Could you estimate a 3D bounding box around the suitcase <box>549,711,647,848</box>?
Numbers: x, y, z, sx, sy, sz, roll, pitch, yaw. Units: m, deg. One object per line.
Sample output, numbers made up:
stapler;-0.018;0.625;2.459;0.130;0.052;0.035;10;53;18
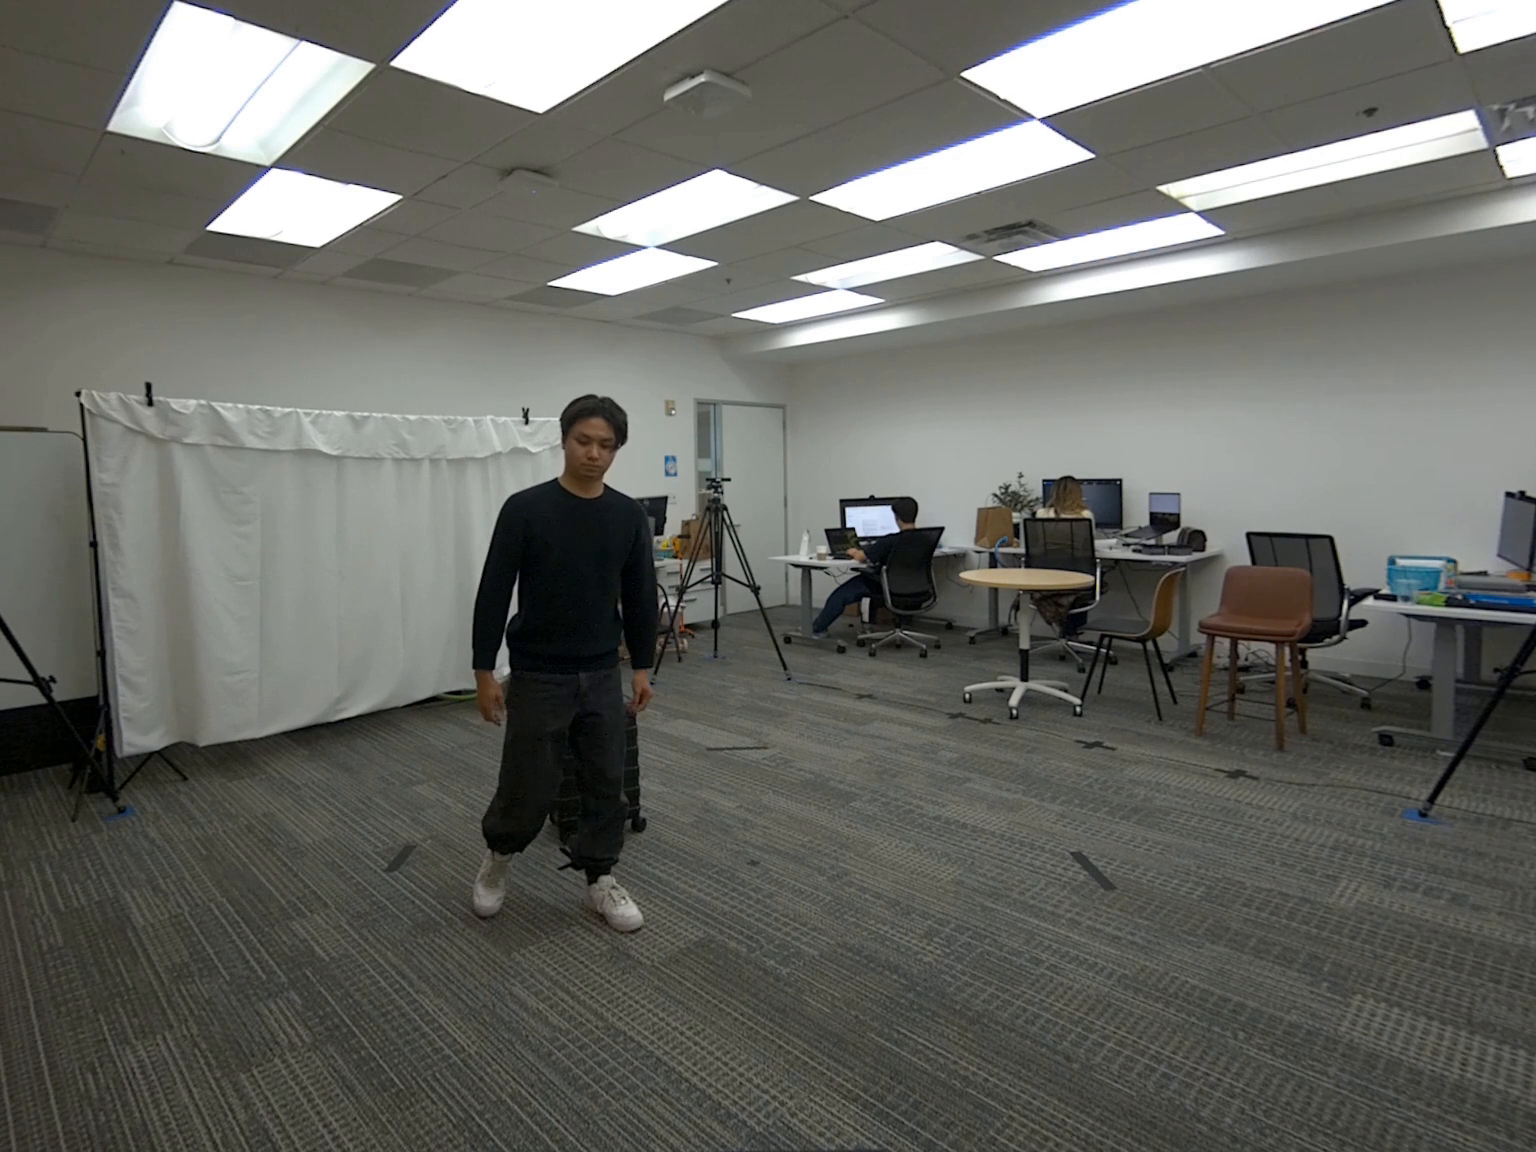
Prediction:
suitcase;-0.701;0.745;3.425;0.368;0.547;0.254;-4;5;-23
